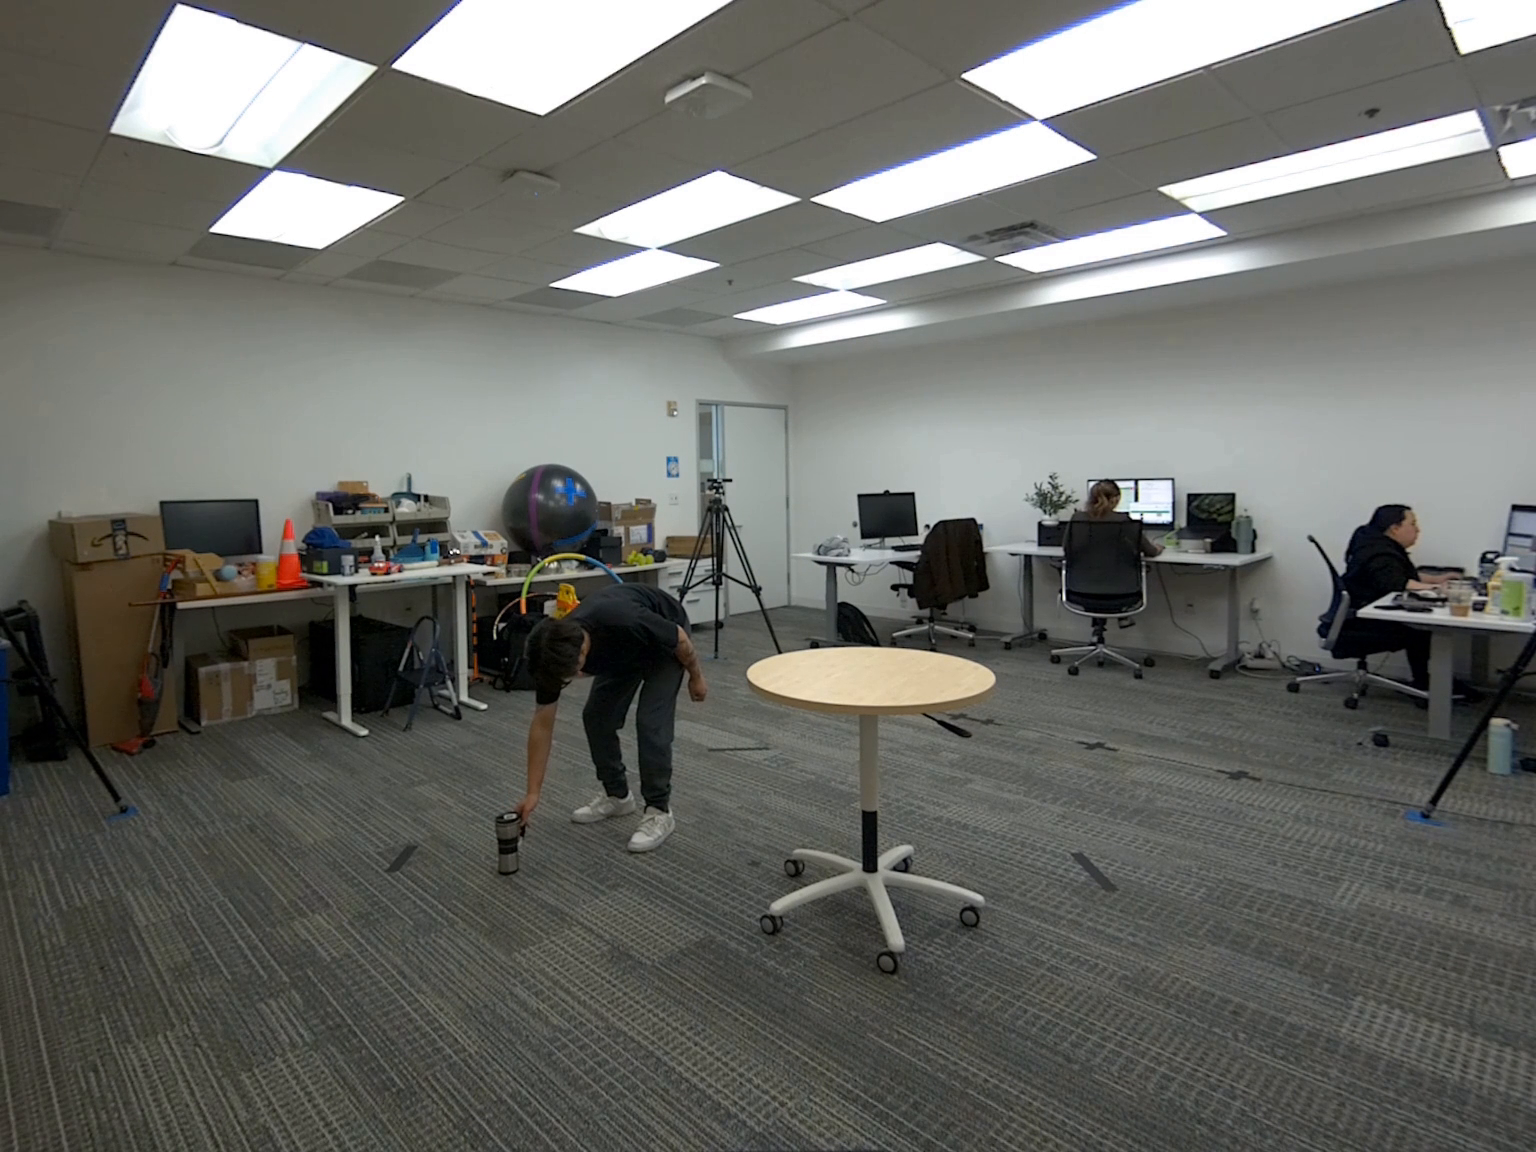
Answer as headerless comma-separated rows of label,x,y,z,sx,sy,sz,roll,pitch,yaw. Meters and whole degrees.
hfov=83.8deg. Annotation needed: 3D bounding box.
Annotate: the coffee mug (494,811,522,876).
coffee mug,-0.914,0.964,3.088,0.119,0.202,0.090,-8,4,-28
